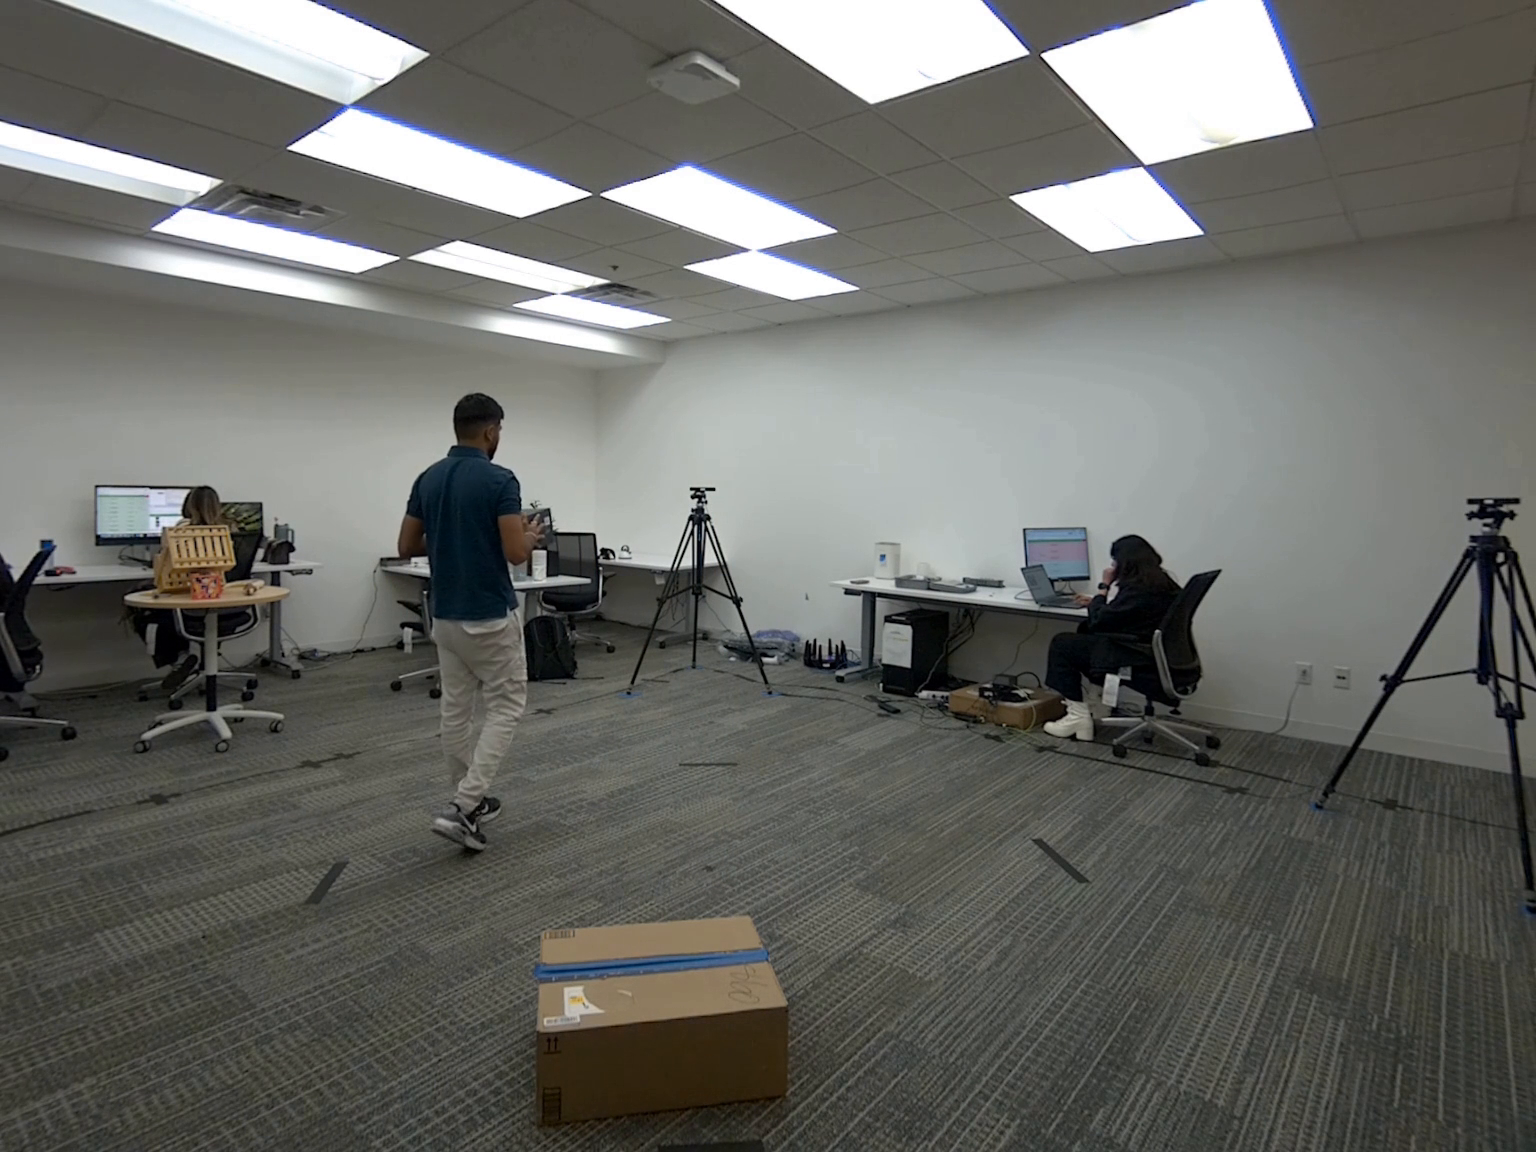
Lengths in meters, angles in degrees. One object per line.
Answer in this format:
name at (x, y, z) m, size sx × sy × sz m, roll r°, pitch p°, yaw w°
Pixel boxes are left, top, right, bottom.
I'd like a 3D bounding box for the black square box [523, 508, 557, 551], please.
black square box at (-1.082, -0.201, 3.648) m, size 0.232 × 0.154 × 0.215 m, roll -1°, pitch 10°, yaw 17°
